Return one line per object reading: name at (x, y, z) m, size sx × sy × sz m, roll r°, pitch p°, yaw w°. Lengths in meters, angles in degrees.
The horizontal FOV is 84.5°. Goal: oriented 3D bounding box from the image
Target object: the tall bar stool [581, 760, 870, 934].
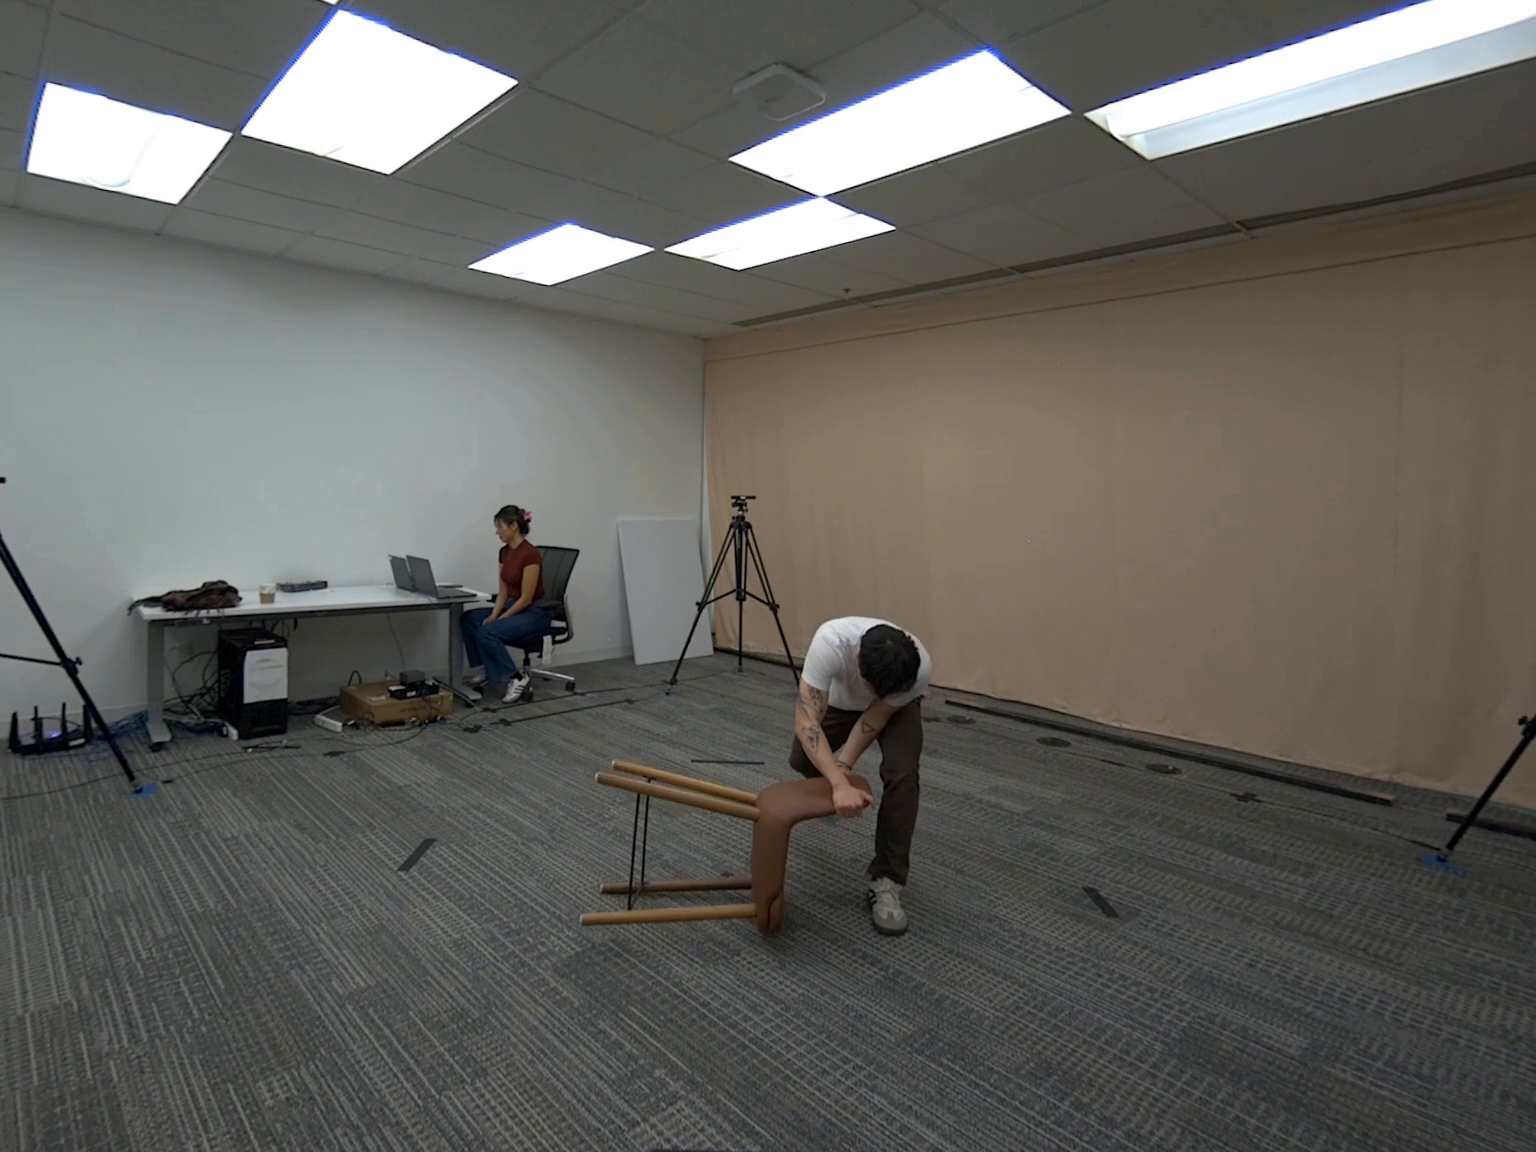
tall bar stool at (-0.128, 0.879, 2.771) m, size 0.891 × 0.470 × 0.453 m, roll 2°, pitch -7°, yaw 1°
